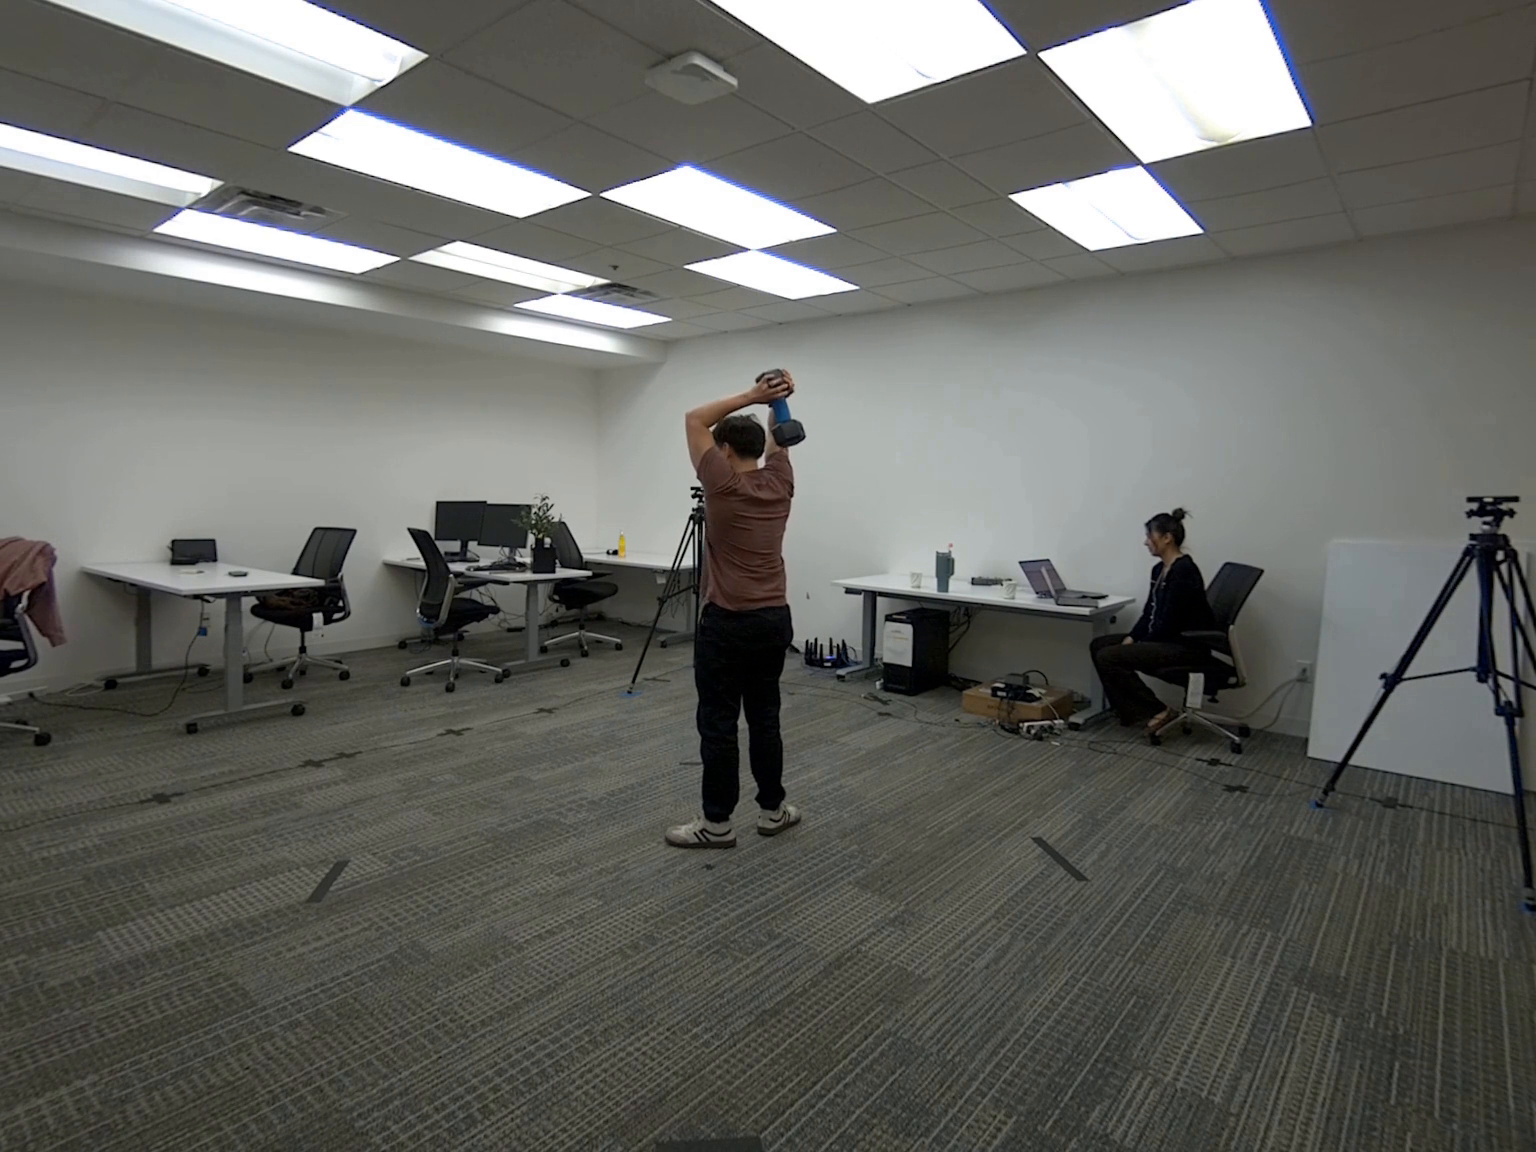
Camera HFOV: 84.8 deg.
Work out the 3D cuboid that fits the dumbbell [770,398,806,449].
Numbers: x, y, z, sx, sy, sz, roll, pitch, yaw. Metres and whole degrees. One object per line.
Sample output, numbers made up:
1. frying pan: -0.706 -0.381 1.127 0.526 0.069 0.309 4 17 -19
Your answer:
1. dumbbell: 0.034 -0.650 3.278 0.106 0.297 0.124 -11 -12 -33
